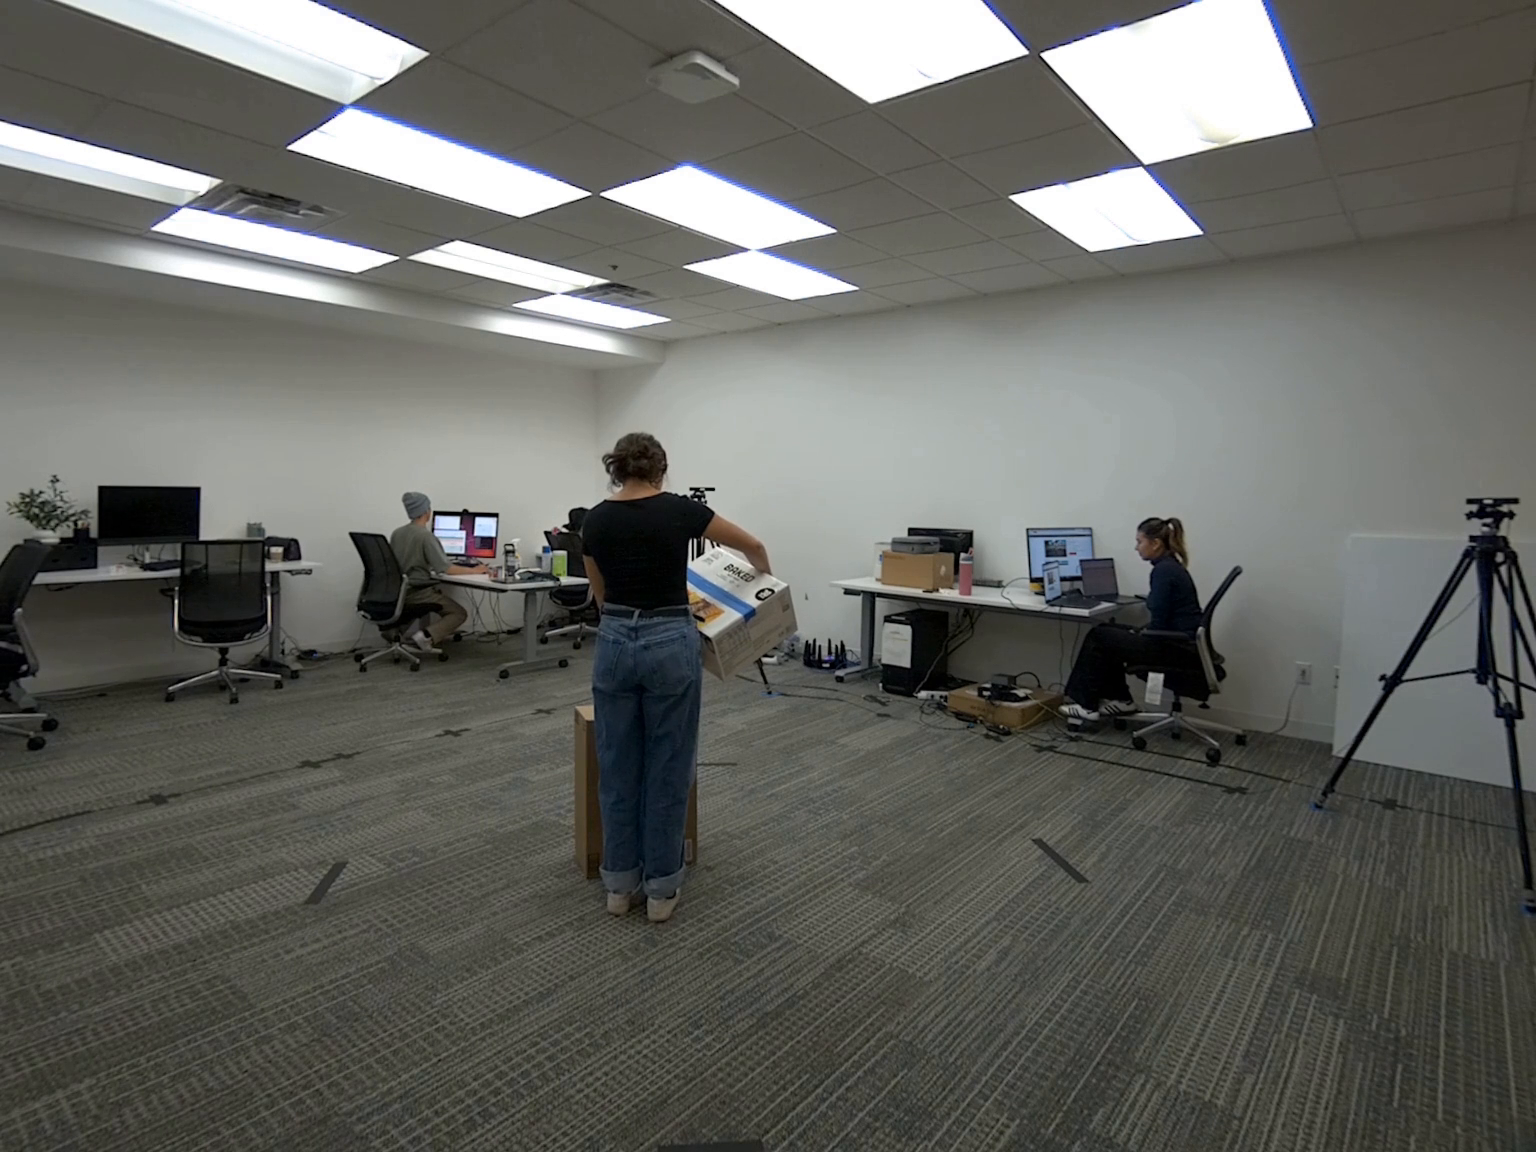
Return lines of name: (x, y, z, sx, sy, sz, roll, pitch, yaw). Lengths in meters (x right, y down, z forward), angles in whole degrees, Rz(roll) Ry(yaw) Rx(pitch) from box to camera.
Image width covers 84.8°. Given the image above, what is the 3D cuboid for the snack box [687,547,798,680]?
snack box: (-0.180, 0.122, 2.979, 0.337, 0.199, 0.422, -33, 38, -26)
